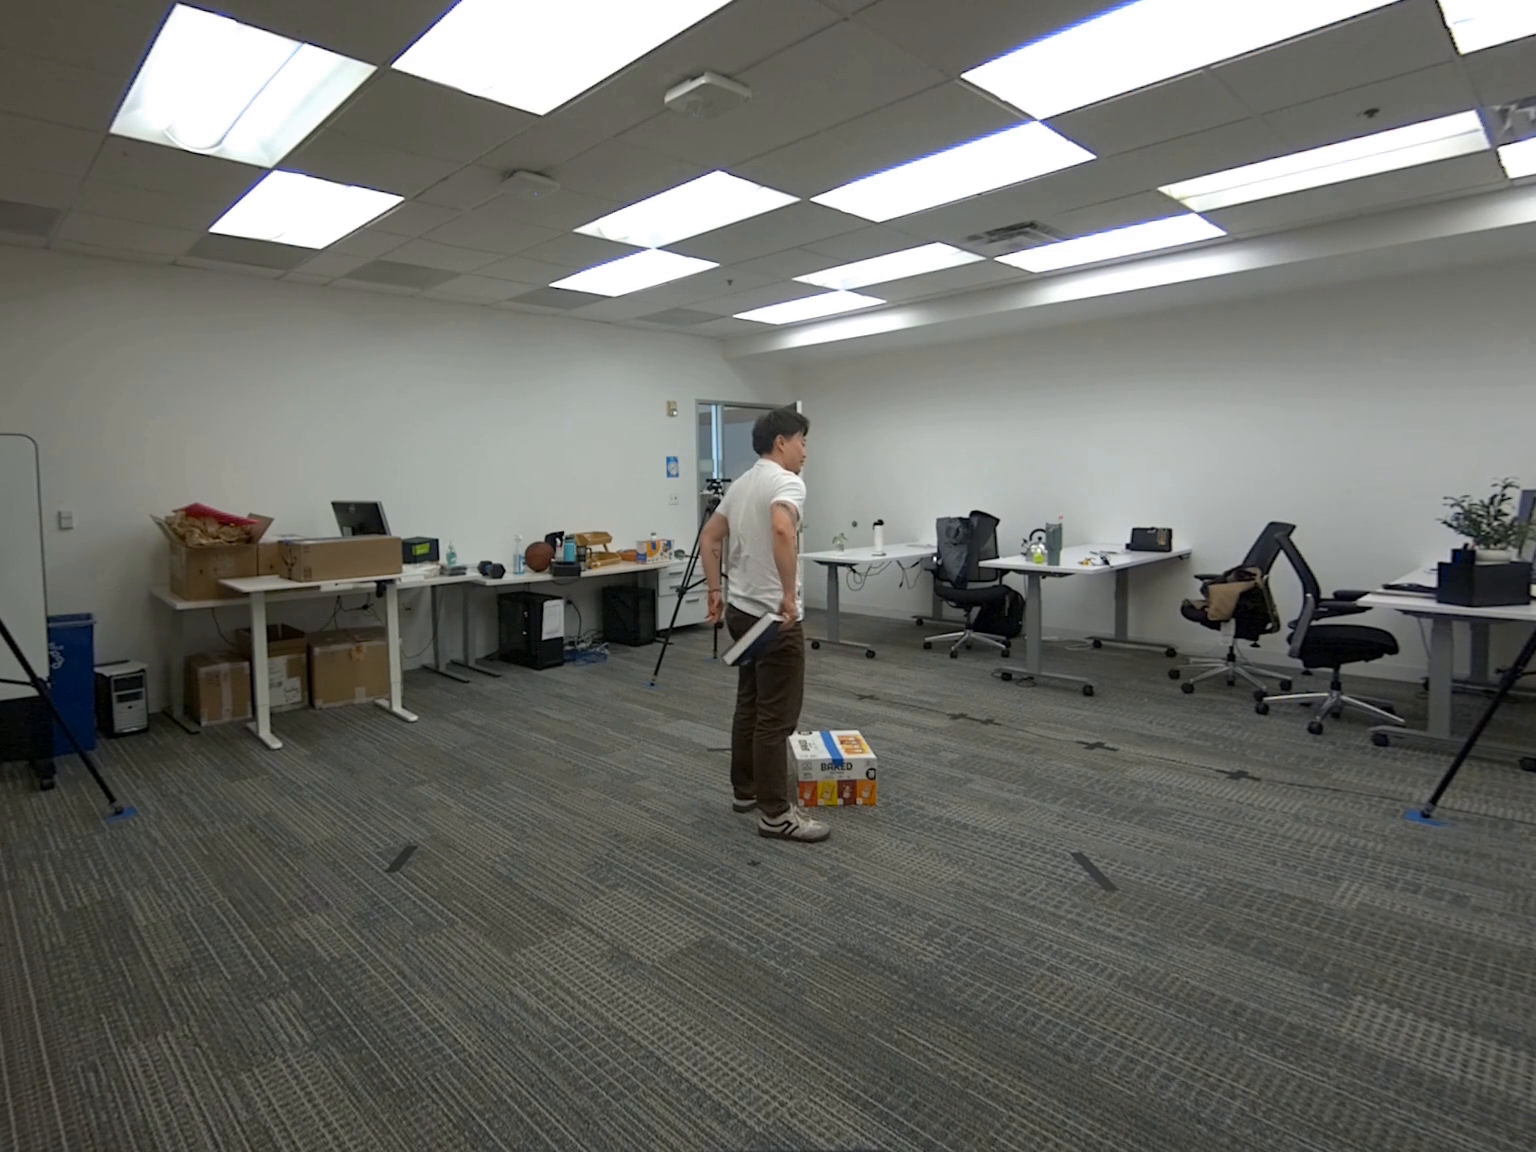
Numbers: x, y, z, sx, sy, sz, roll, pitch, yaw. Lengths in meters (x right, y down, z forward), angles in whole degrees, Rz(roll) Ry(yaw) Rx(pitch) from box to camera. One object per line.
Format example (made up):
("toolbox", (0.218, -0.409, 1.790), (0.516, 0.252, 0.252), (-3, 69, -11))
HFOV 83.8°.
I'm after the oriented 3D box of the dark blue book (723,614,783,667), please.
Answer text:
("dark blue book", (-0.056, 0.229, 3.162), (0.245, 0.046, 0.159), (-45, -19, 11))
